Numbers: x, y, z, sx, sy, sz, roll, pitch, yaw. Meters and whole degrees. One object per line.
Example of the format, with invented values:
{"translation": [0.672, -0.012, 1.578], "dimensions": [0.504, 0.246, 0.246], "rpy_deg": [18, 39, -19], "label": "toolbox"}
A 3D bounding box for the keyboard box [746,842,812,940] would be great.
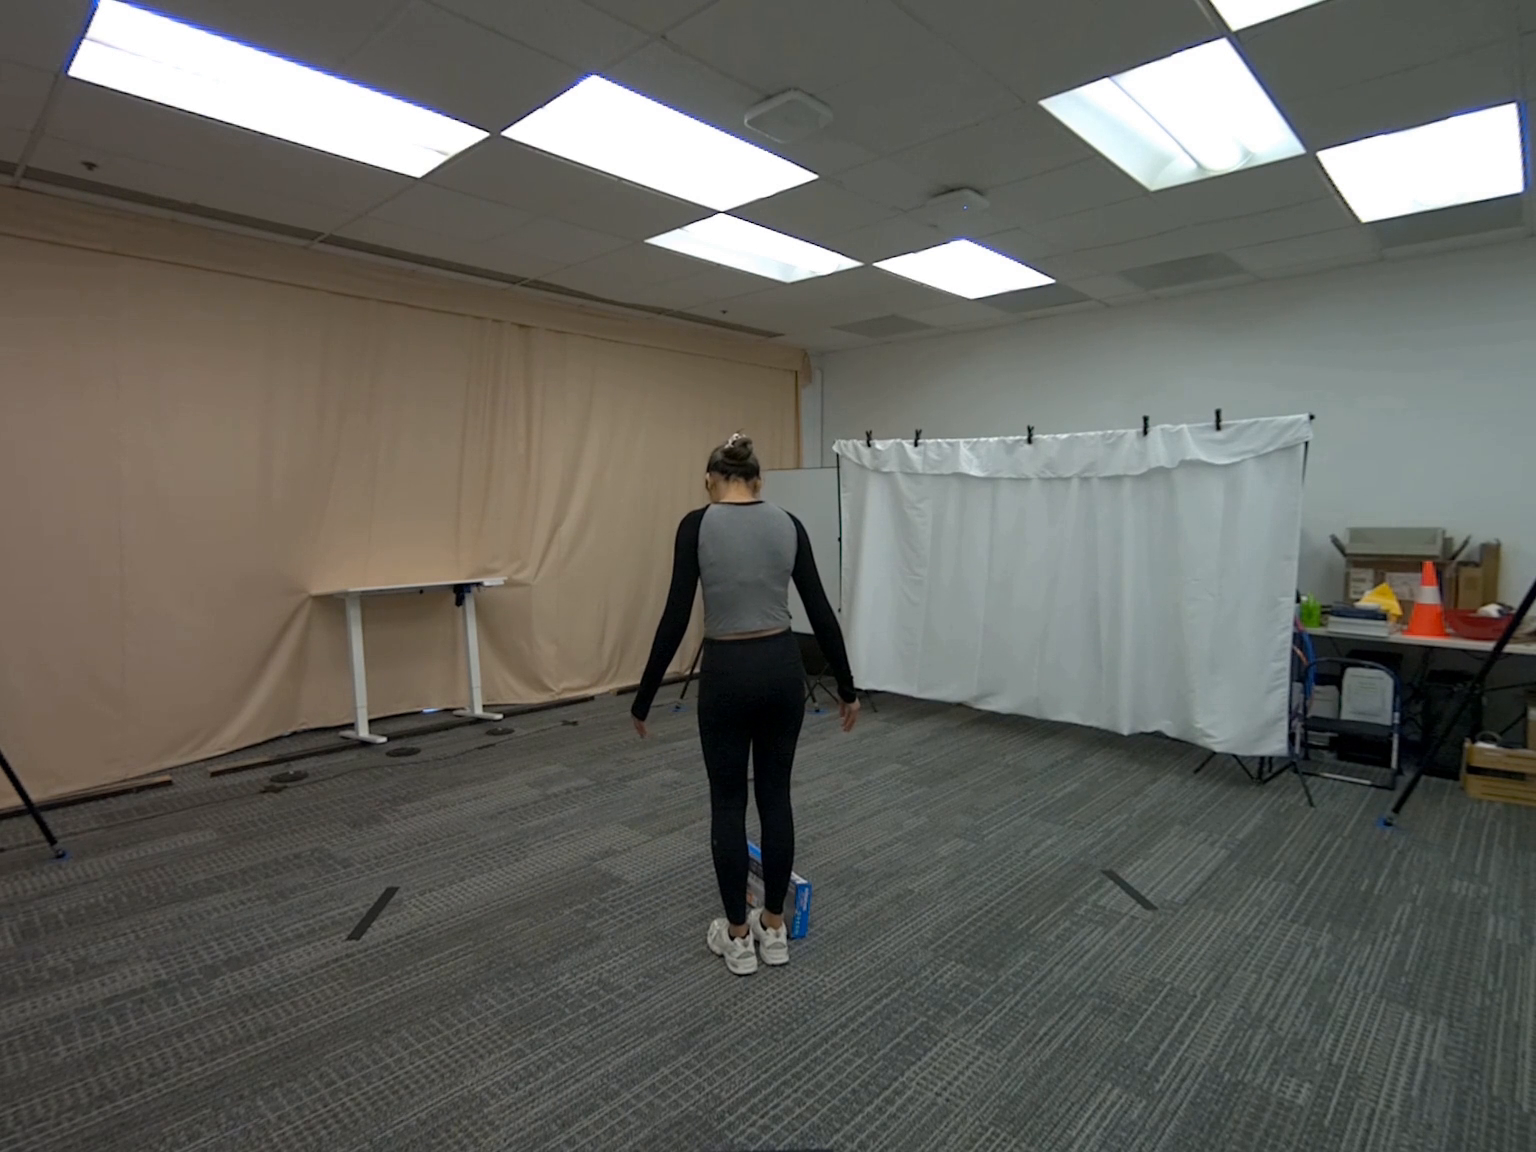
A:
{"translation": [-0.001, 1.066, 2.898], "dimensions": [0.057, 0.176, 0.450], "rpy_deg": [7, 0, -31], "label": "keyboard box"}
